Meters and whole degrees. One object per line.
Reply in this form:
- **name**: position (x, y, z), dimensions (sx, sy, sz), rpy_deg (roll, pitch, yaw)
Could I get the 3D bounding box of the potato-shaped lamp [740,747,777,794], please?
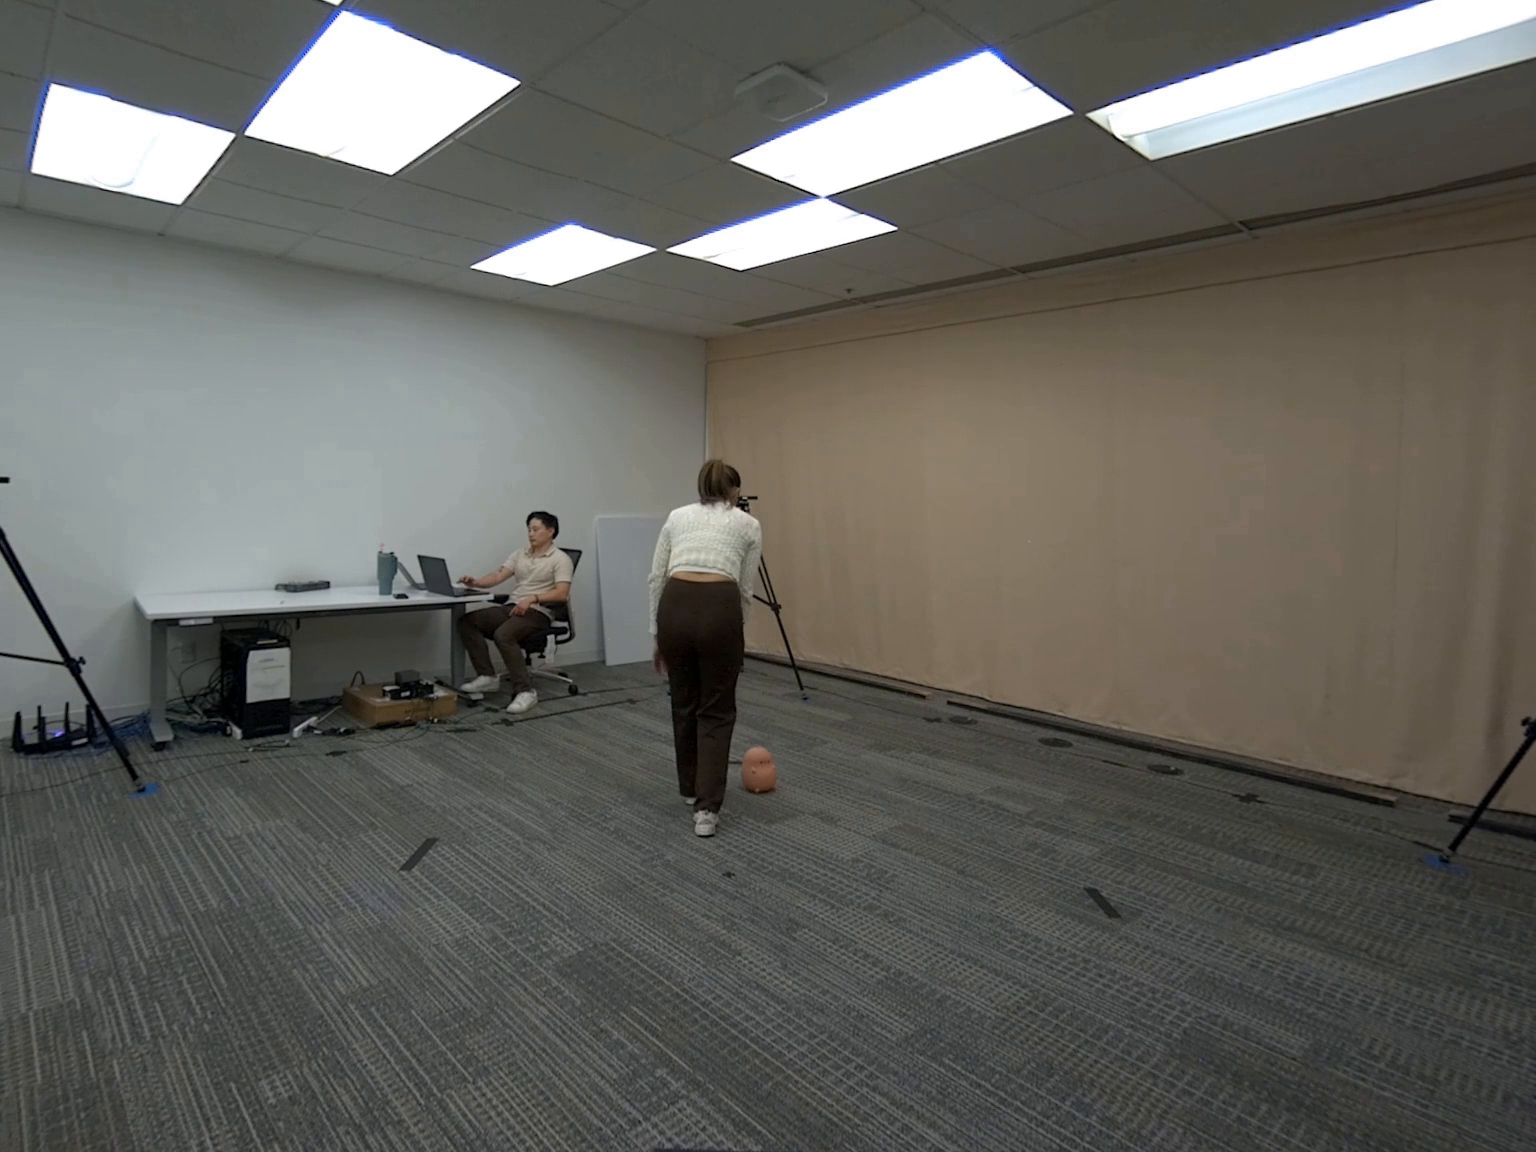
- **potato-shaped lamp**: position (-0.058, 0.921, 4.048), dimensions (0.162, 0.197, 0.175), rpy_deg (-2, 5, -28)
